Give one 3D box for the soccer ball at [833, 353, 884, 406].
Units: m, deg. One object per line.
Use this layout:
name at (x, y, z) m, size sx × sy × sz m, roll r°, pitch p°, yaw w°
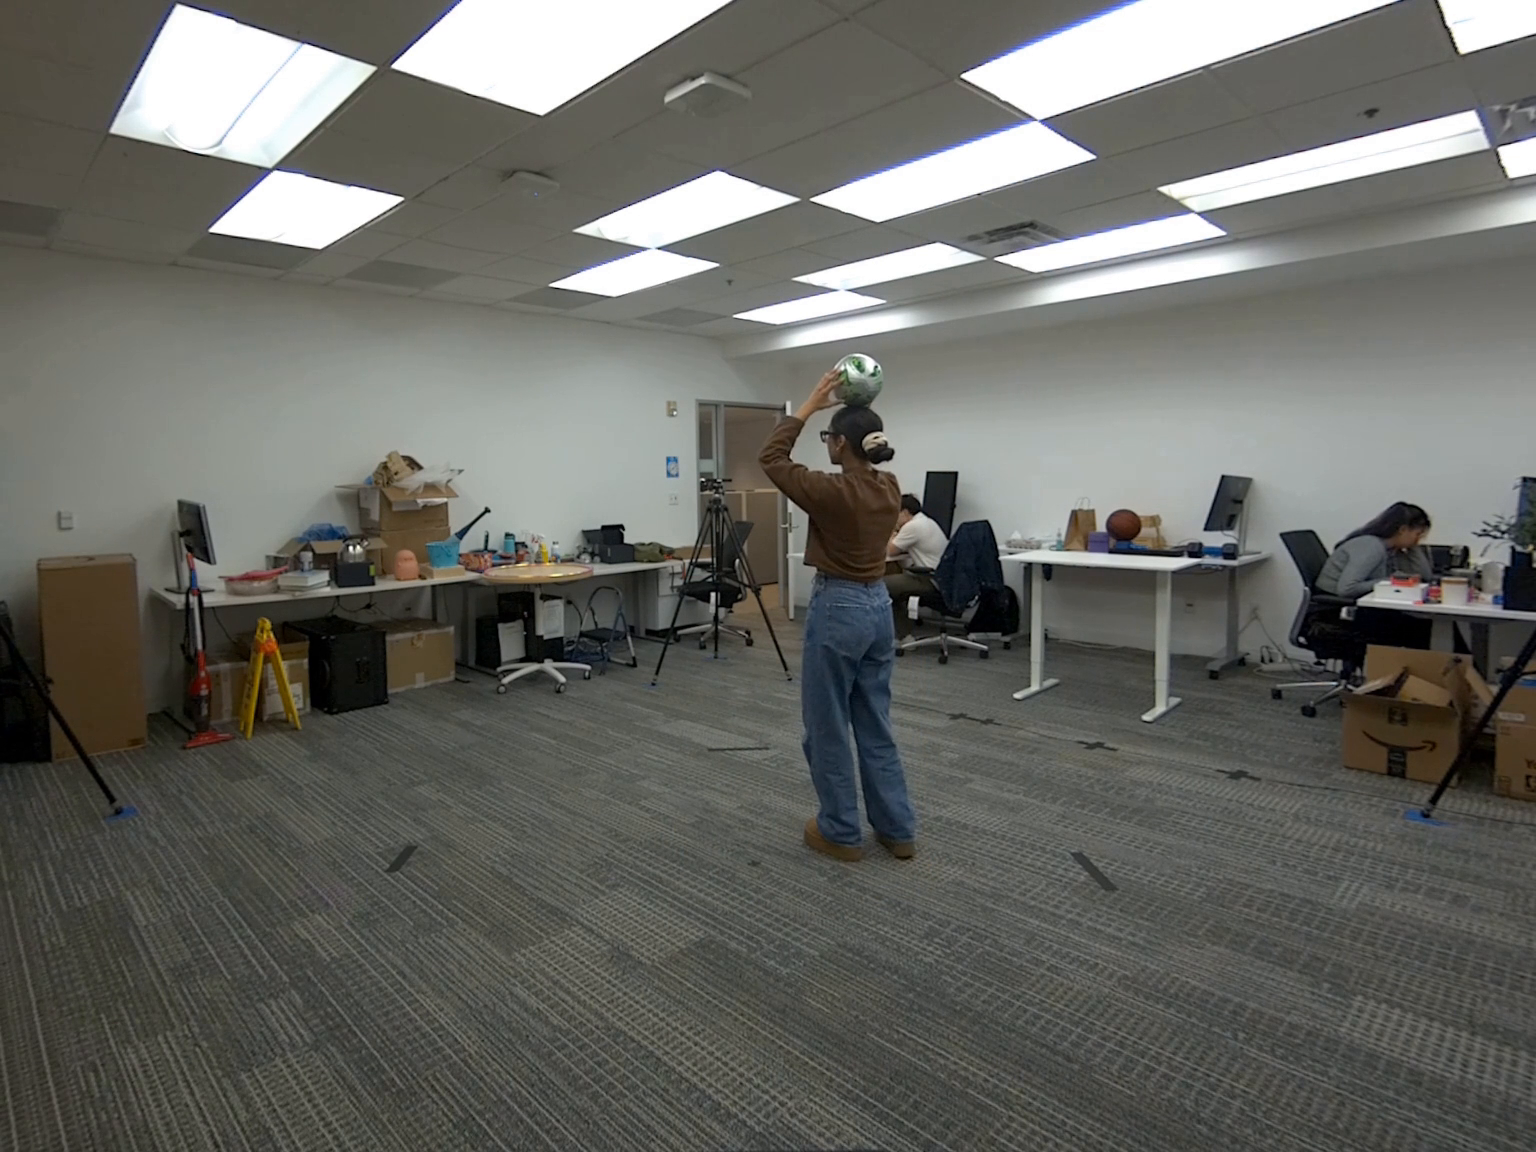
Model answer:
soccer ball at (0.325, -0.705, 3.066) m, size 0.187 × 0.187 × 0.188 m, roll -1°, pitch 5°, yaw -2°
